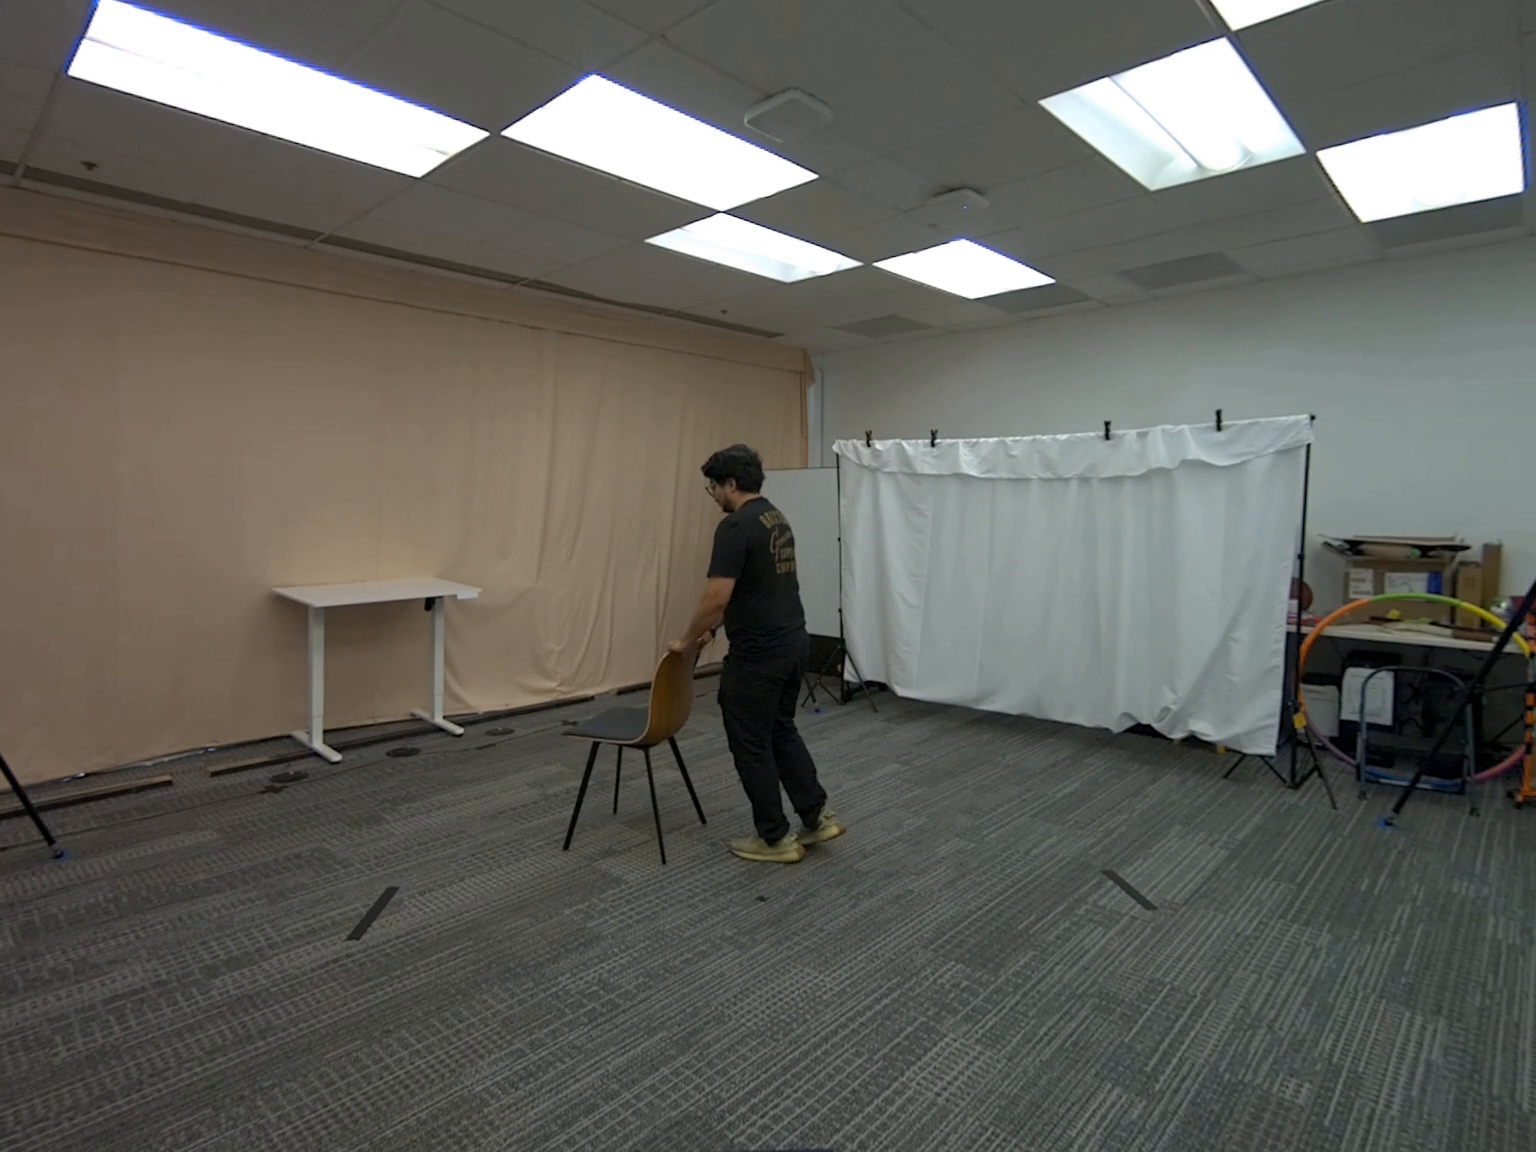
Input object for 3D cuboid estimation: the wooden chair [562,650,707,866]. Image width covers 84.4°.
[{"bbox_3d":[-0.562,0.675,3.521,0.534,0.874,0.470,5,6,18],"label":"wooden chair"}]
